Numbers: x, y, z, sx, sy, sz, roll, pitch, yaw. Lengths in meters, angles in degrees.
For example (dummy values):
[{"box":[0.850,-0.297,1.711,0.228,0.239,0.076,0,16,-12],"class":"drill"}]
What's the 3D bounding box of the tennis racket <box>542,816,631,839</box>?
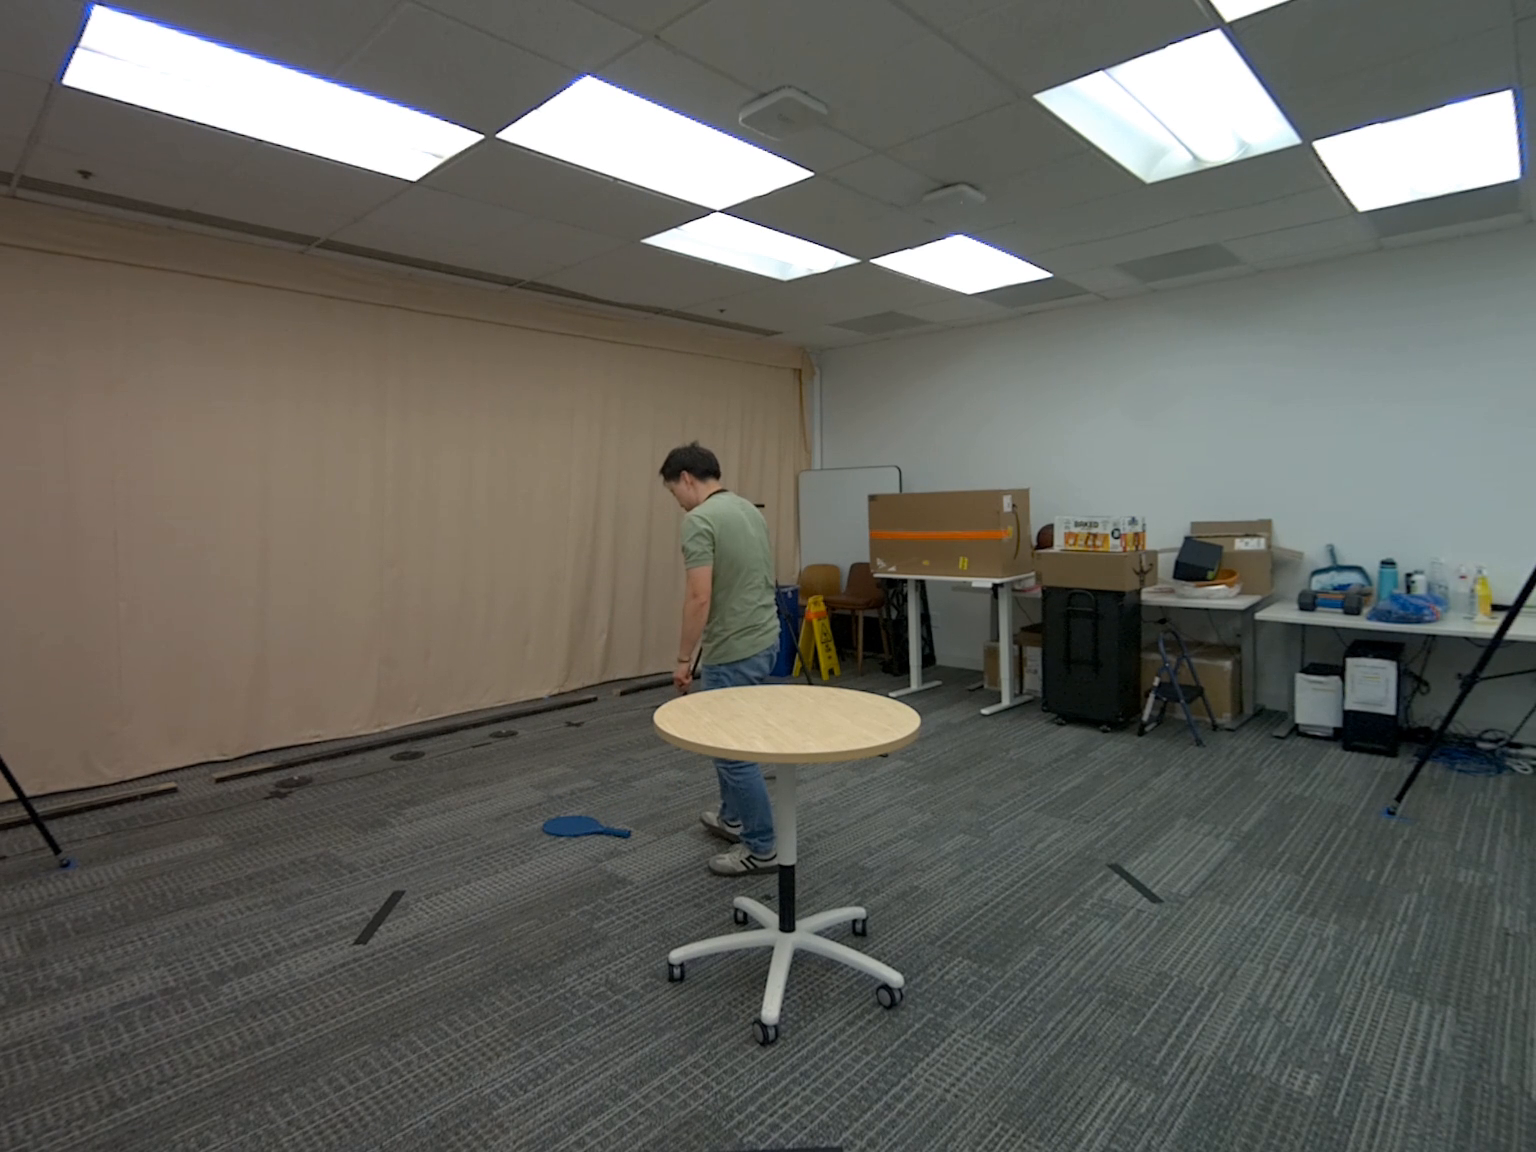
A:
[{"box":[-0.783,1.086,3.632,0.444,0.032,0.208,0,4,28],"class":"tennis racket"}]
